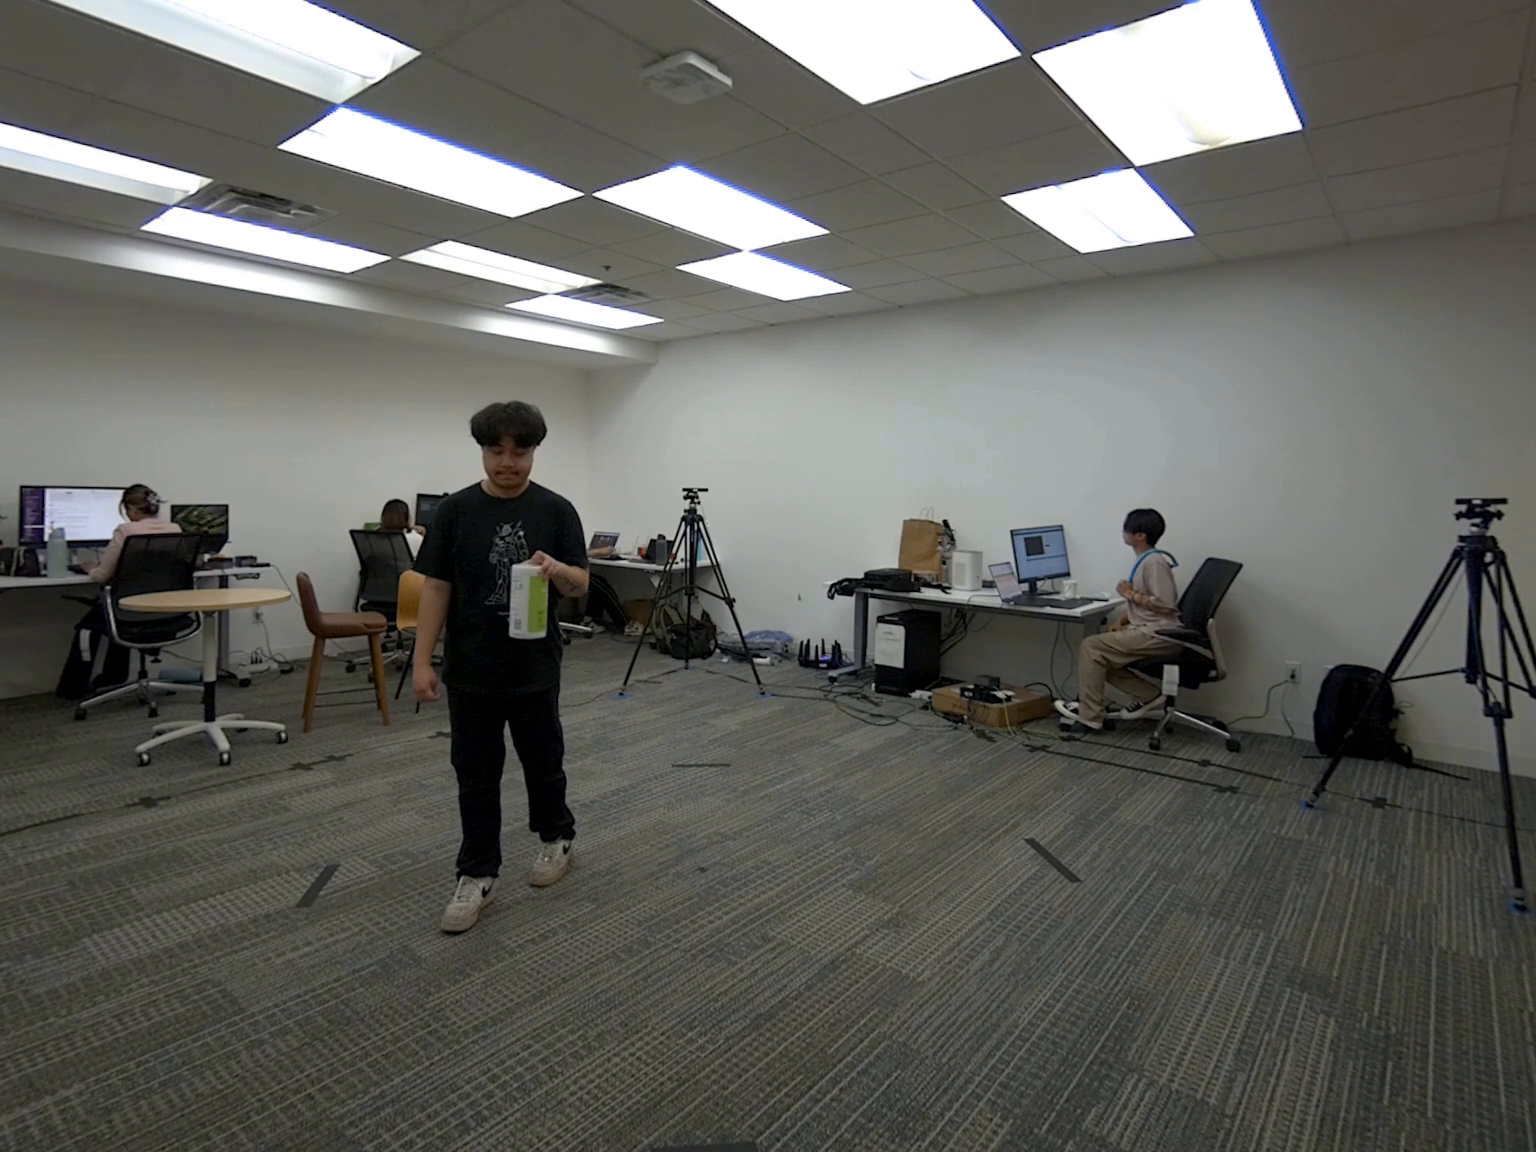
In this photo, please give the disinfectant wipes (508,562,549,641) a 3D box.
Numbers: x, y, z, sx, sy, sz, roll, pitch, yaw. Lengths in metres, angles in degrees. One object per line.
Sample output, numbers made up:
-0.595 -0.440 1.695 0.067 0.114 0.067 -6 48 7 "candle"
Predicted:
-0.728 0.074 2.556 0.117 0.217 0.118 2 4 -2 "disinfectant wipes"
